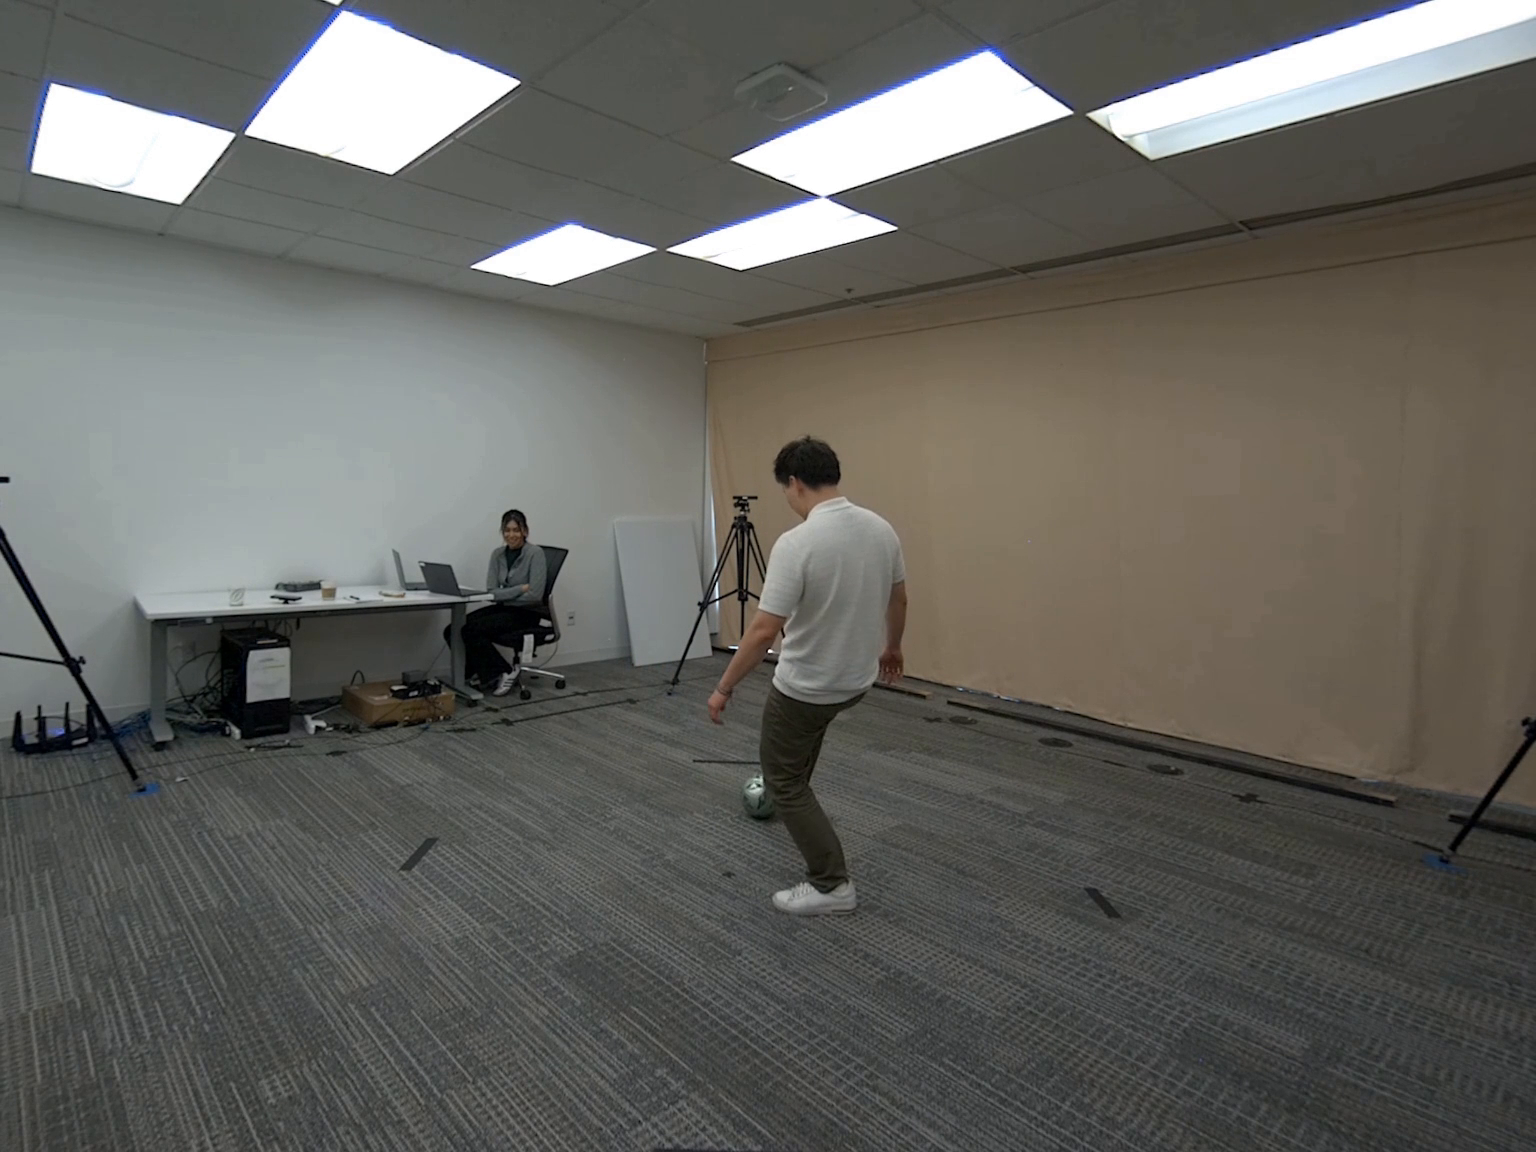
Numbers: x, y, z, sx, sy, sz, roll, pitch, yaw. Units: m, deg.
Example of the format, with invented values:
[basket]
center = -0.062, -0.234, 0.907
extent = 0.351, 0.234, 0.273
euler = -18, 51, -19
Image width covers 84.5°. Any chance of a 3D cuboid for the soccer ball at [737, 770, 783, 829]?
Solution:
[soccer ball]
center = -0.037, 0.966, 3.678
extent = 0.187, 0.187, 0.188
euler = 1, 4, -1
